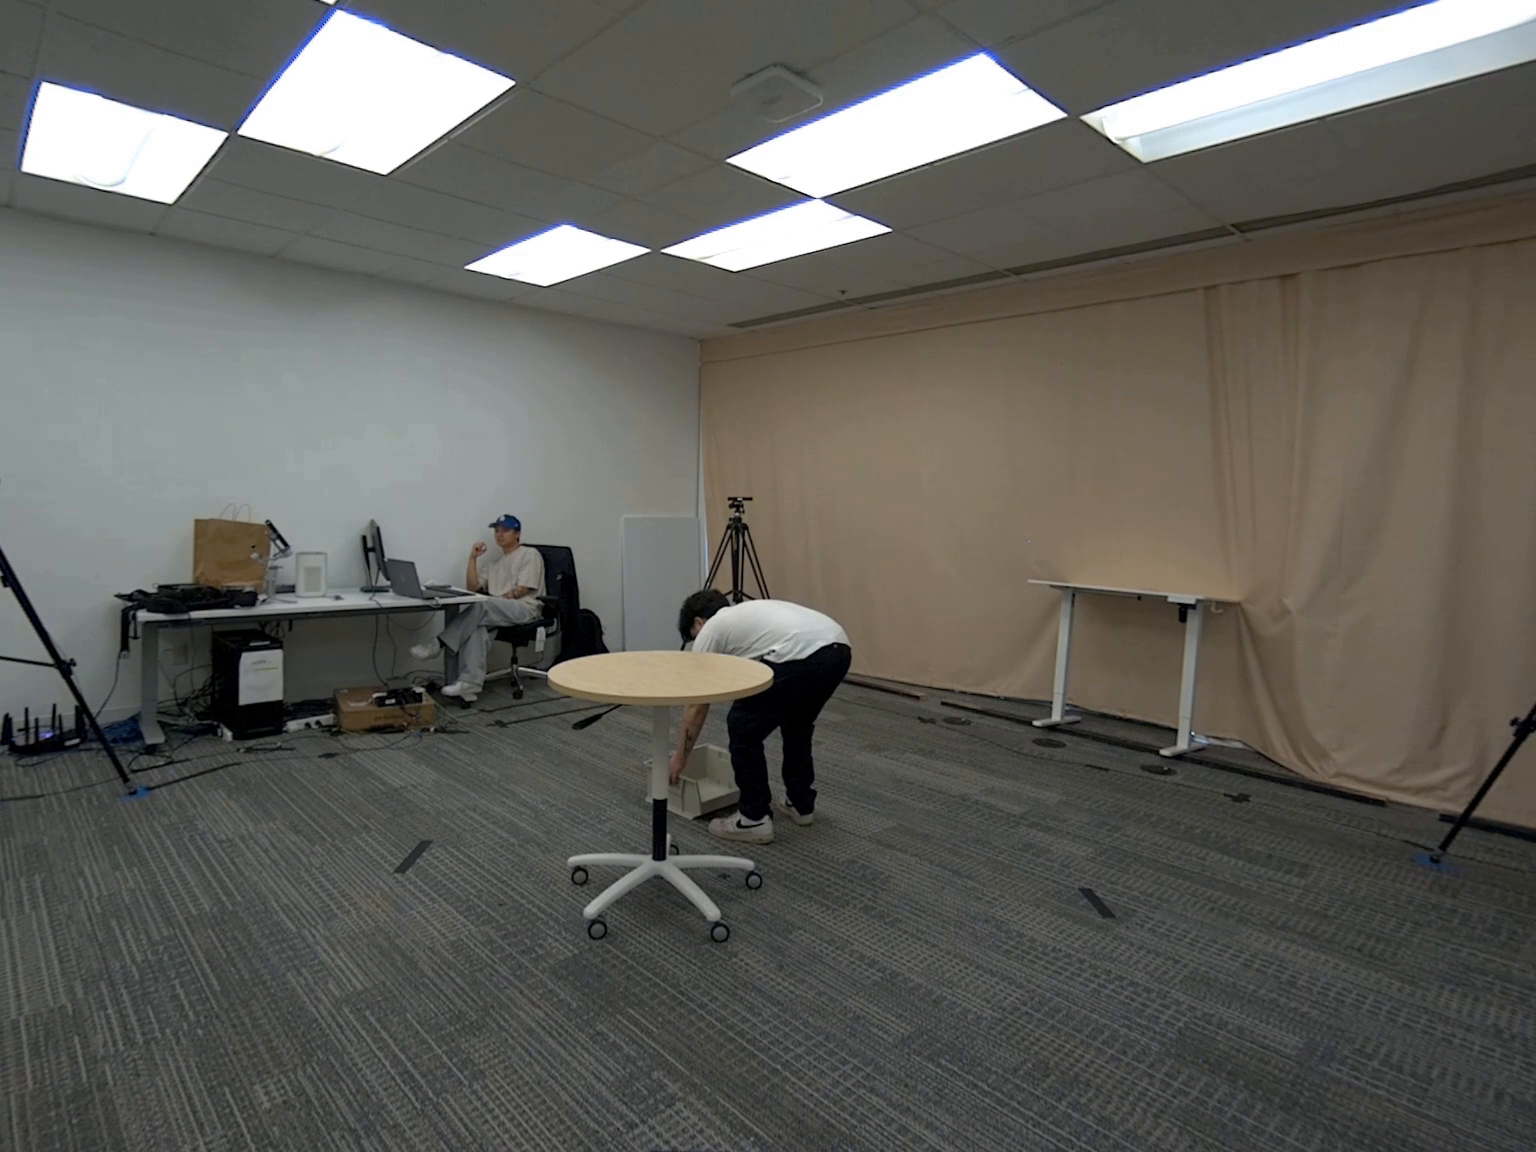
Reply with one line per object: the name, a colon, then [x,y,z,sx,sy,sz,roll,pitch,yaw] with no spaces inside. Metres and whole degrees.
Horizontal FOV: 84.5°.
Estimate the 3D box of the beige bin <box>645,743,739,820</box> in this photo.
beige bin: [-0.287,0.938,3.876,0.387,0.188,0.413,5,8,43]
